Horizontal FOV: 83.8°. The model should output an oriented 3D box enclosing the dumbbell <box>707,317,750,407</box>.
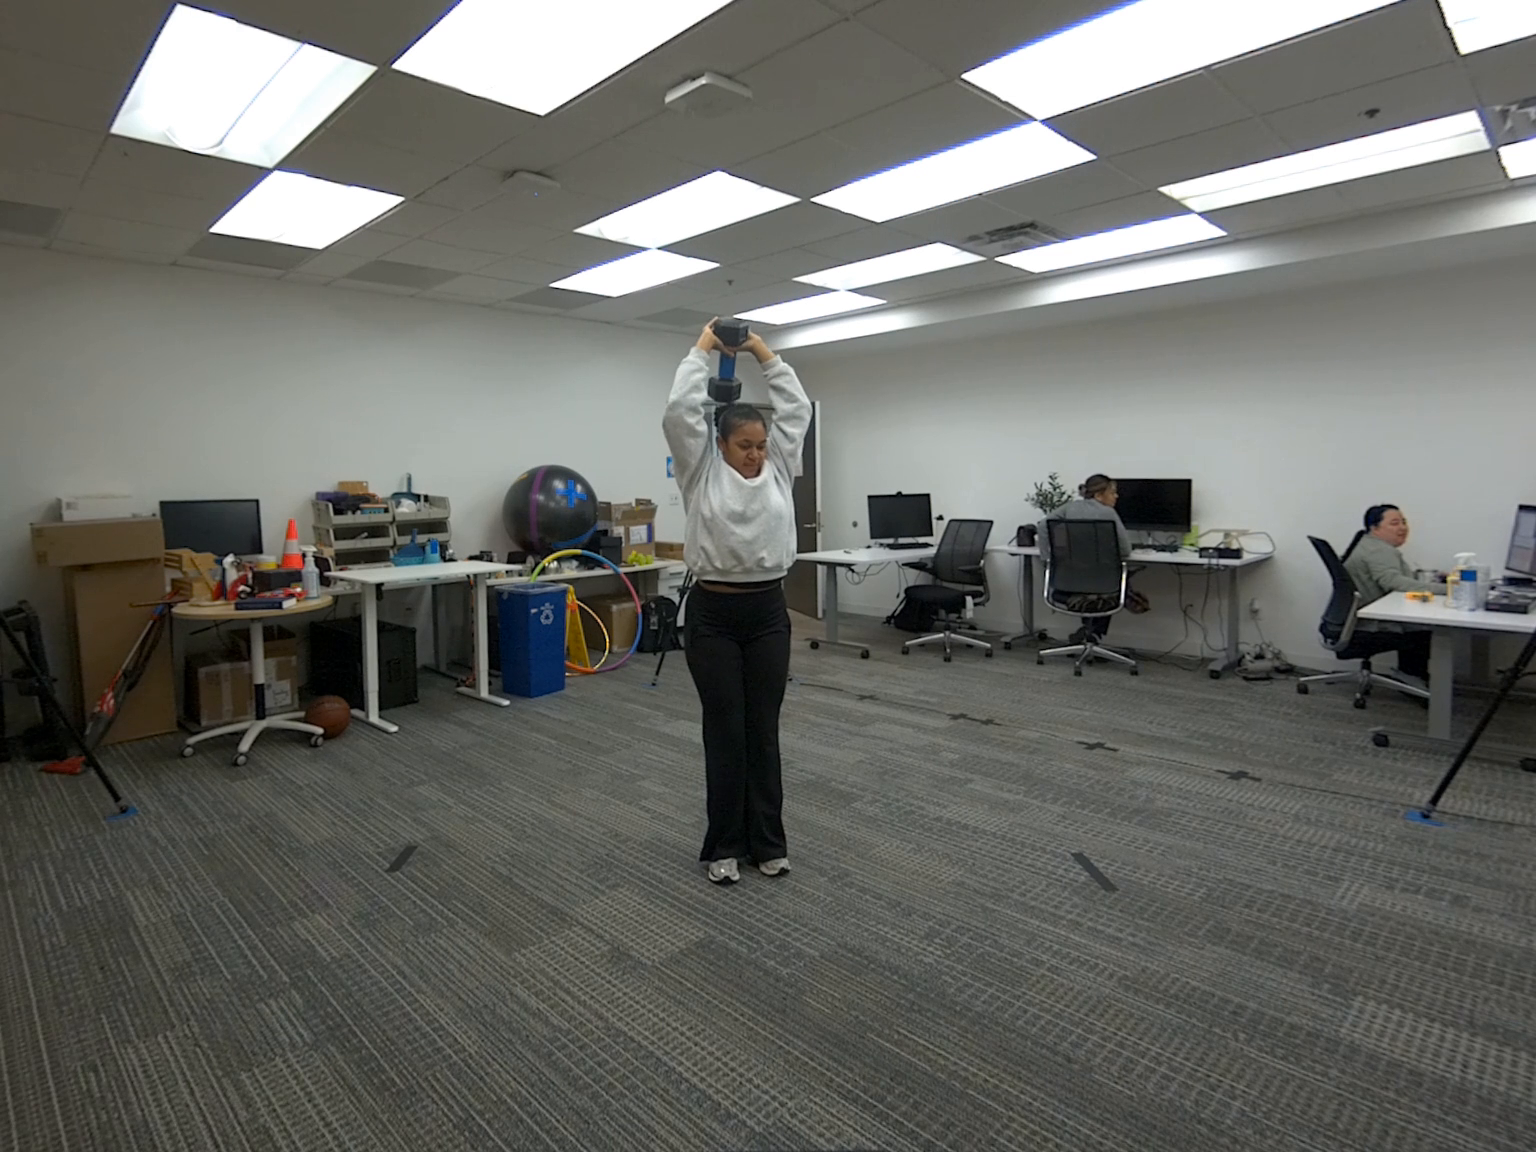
[{"bbox_3d":[-0.142,-0.764,3.064,0.112,0.288,0.122,20,31,23],"label":"dumbbell"}]
